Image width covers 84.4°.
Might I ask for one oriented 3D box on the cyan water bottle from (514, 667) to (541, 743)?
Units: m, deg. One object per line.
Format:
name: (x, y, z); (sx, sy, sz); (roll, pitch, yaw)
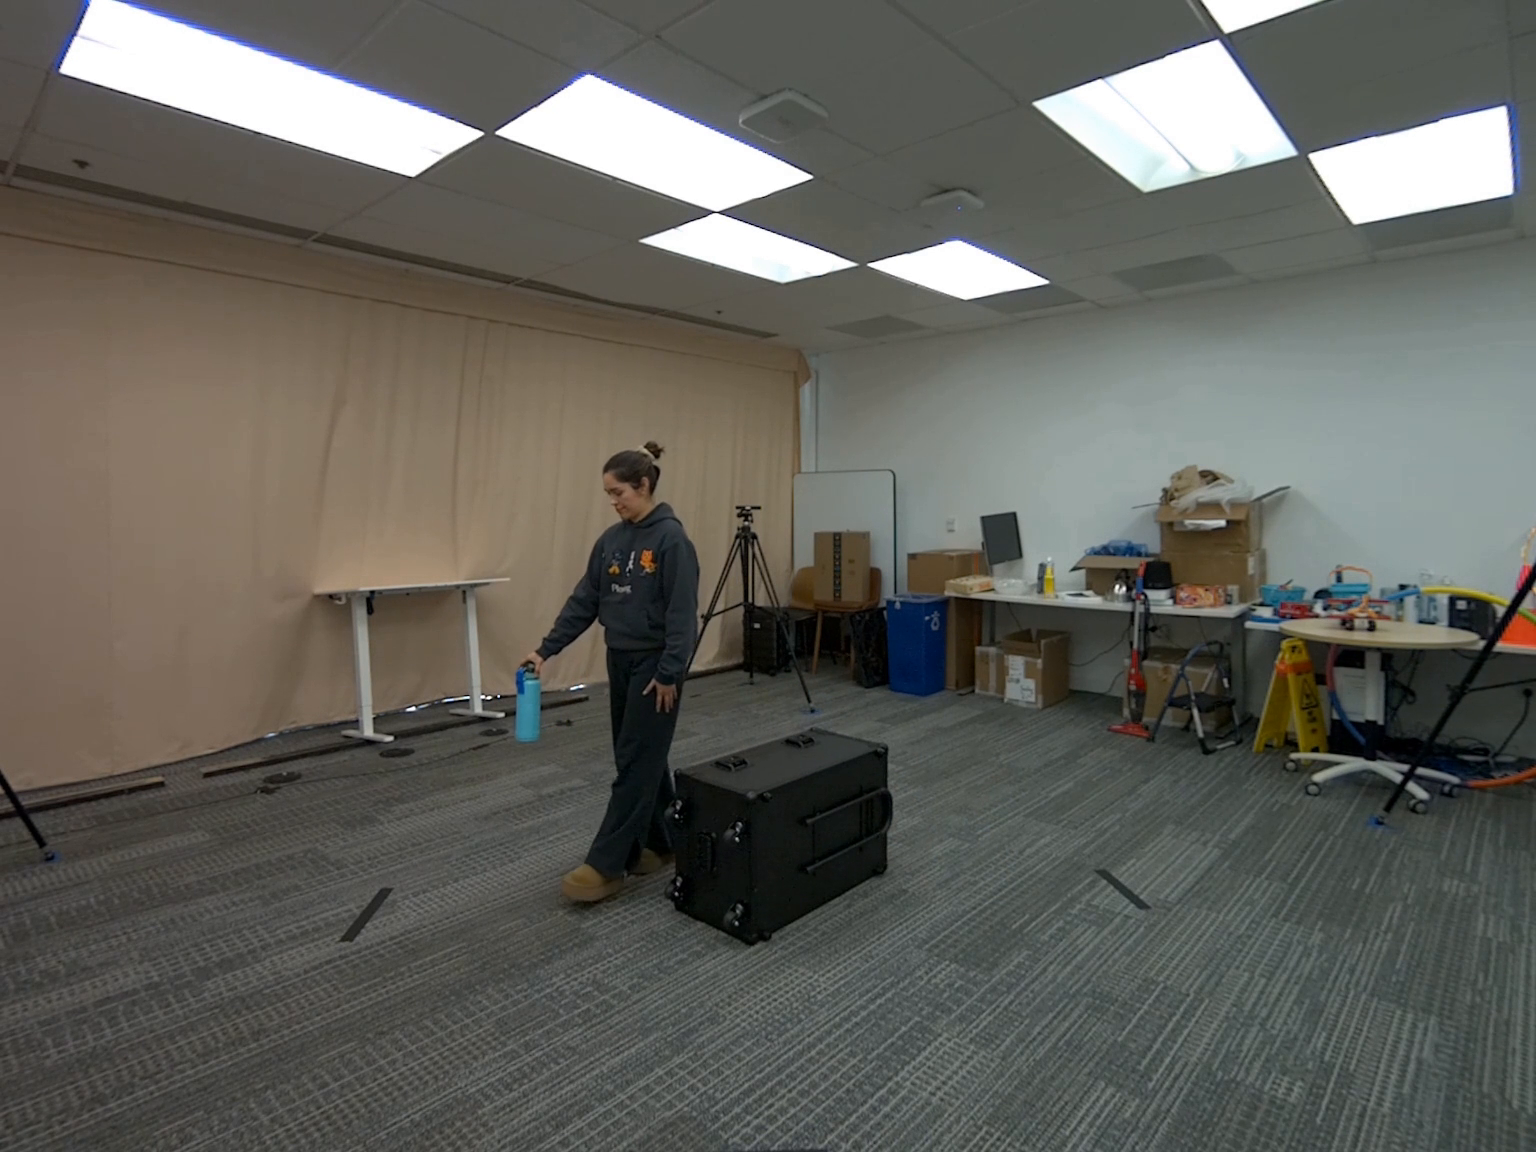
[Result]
cyan water bottle: (-0.895, 0.486, 3.179); (0.092, 0.283, 0.092); (1, 2, -2)
